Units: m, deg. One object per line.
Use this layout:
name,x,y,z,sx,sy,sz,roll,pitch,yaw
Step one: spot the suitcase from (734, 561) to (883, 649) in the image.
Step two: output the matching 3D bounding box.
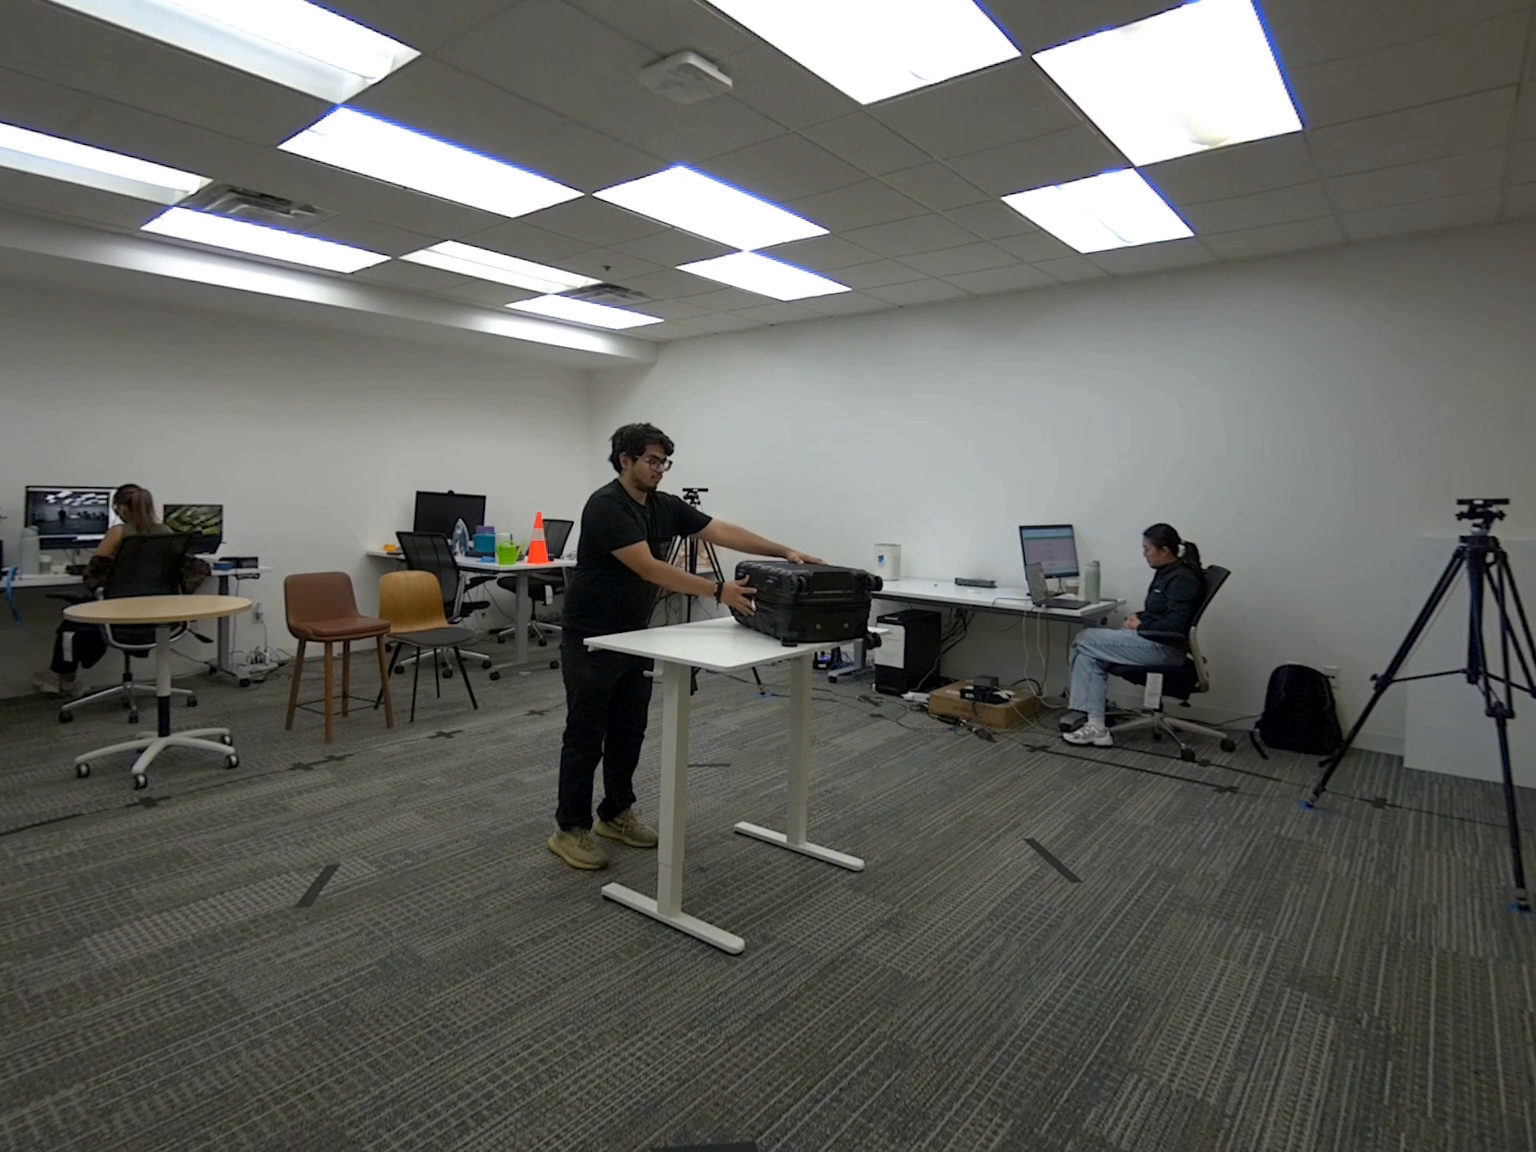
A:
suitcase,0.100,0.090,3.056,0.367,0.247,0.565,0,6,-24
